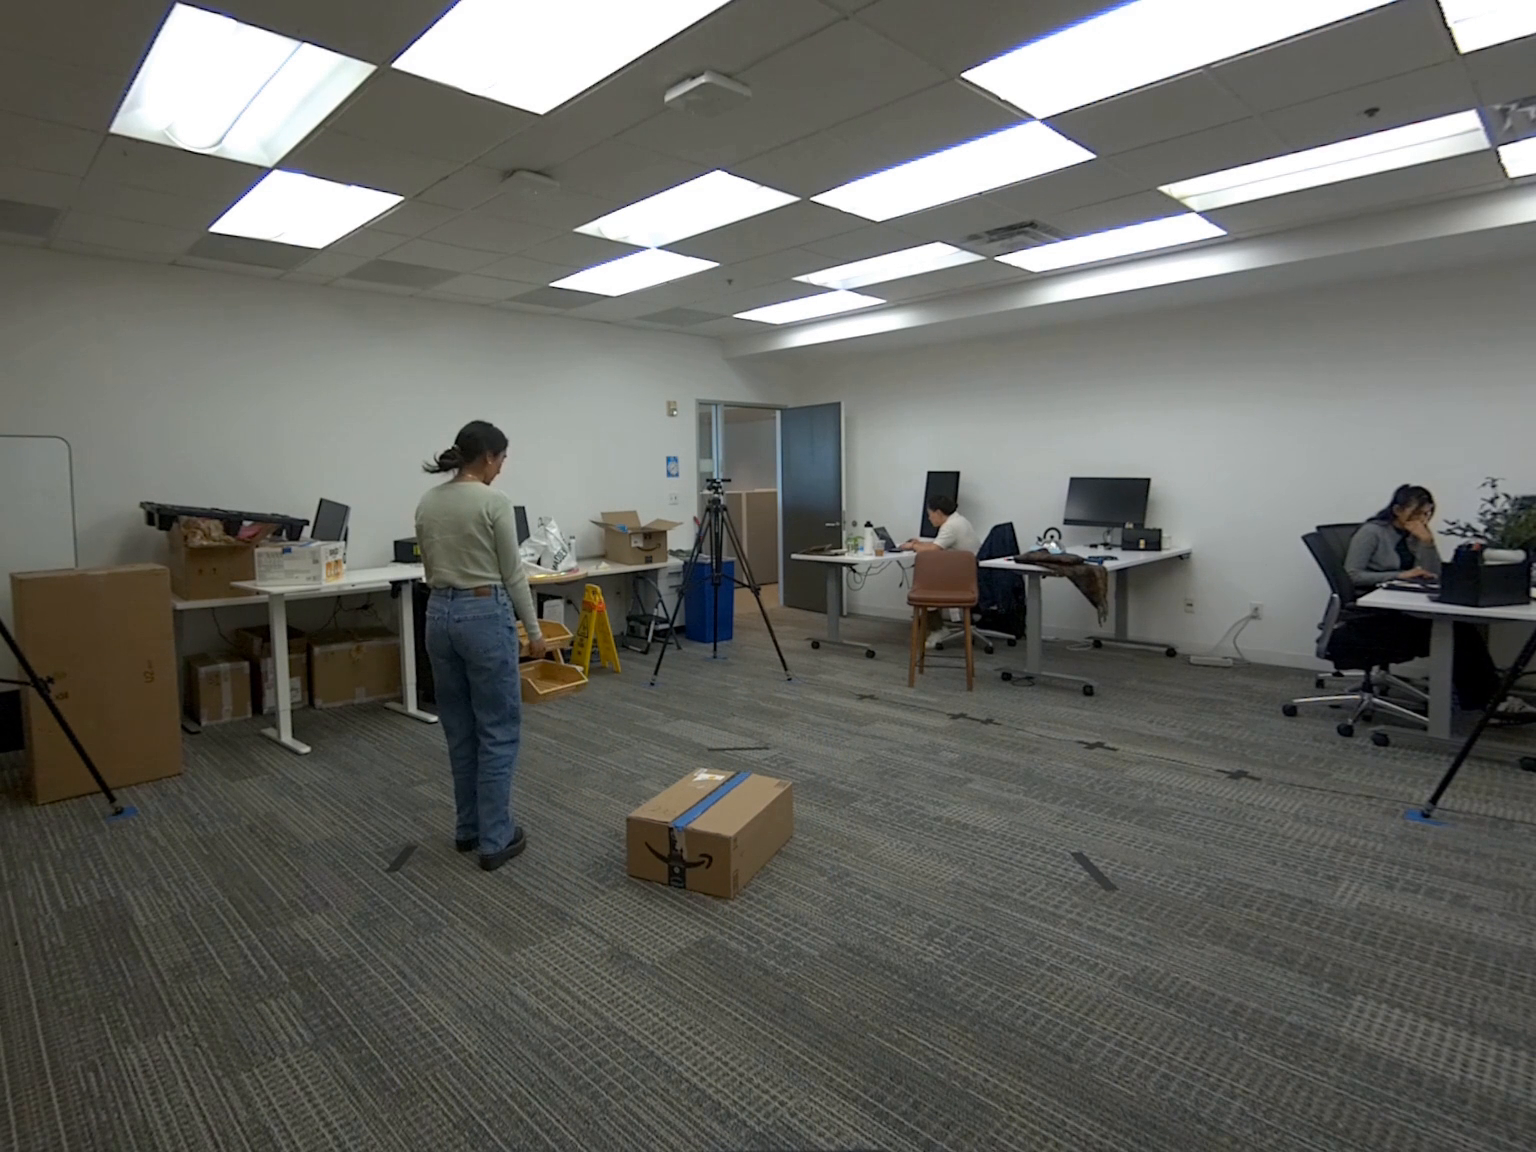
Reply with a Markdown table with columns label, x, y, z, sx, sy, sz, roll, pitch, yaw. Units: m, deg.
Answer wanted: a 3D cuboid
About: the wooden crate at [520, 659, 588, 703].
| label | x | y | z | sx | sy | sz | roll | pitch | yaw |
| --- | --- | --- | --- | --- | --- | --- | --- | --- | --- |
| wooden crate | -0.909 | 0.329 | 3.429 | 0.309 | 0.272 | 0.318 | 5 | 5 | 24 |
